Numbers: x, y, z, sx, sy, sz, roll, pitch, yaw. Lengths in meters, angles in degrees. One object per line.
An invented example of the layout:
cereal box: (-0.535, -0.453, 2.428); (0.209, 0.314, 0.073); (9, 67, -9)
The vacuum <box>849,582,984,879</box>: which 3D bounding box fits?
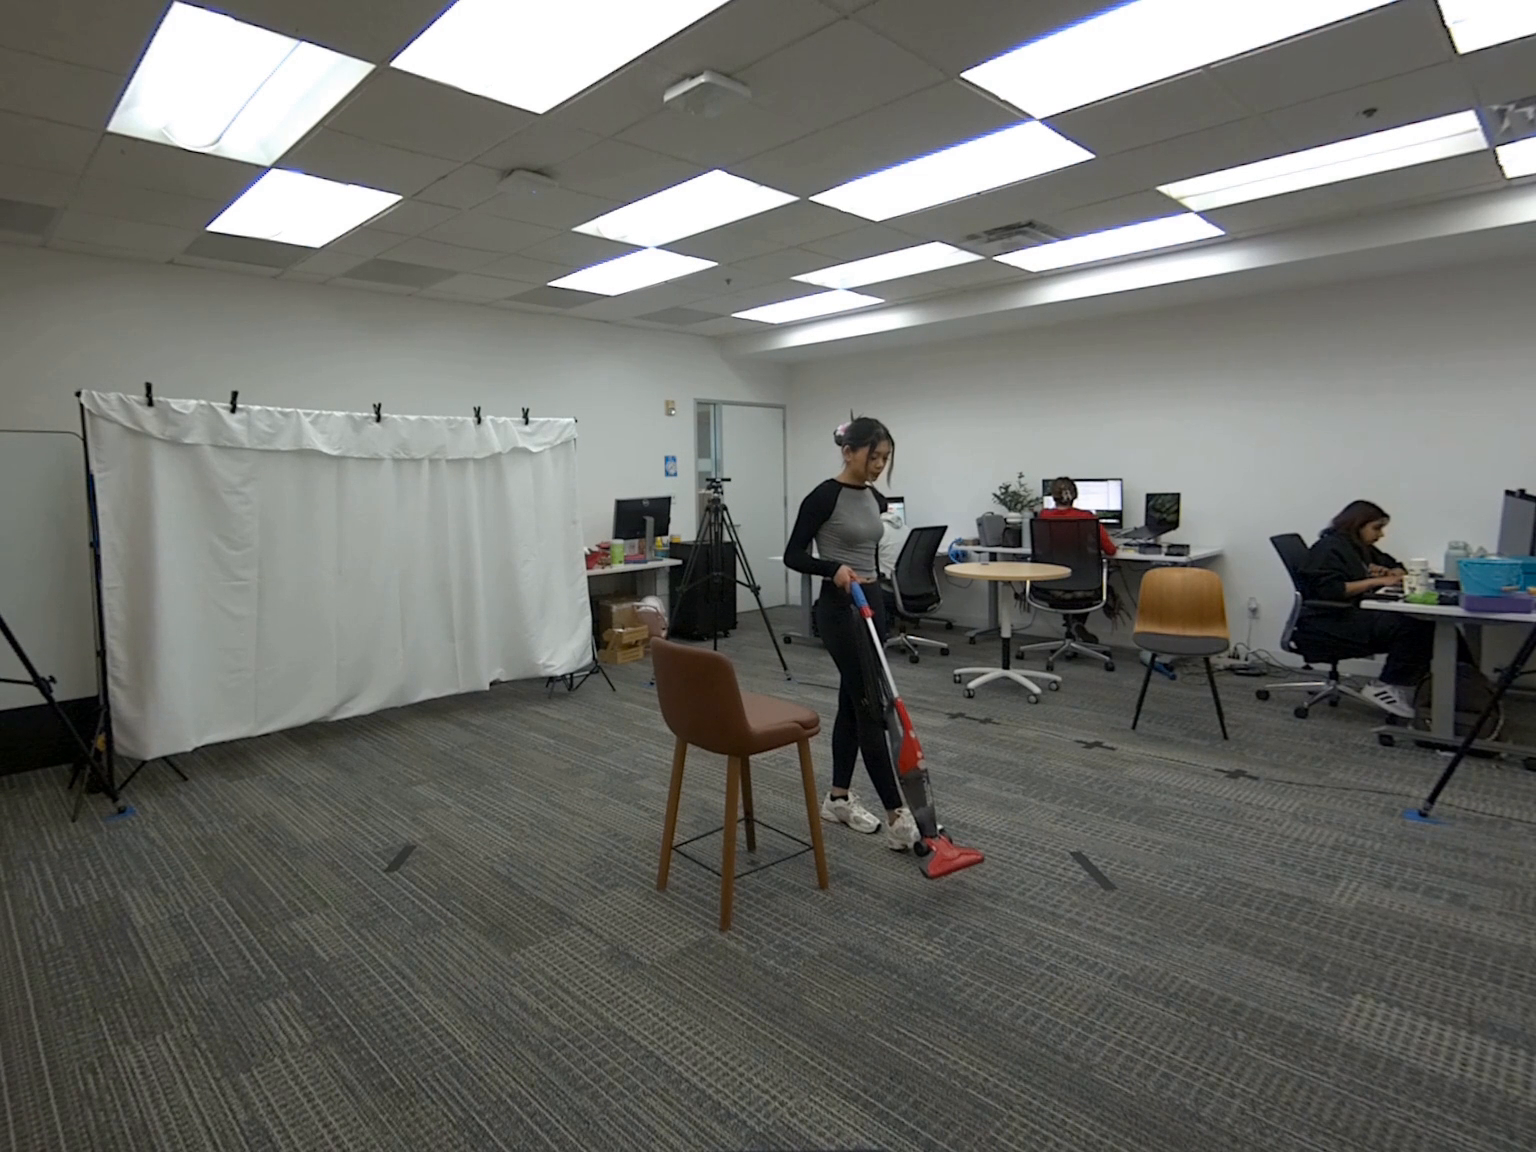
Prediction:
vacuum: (0.434, 0.470, 2.981); (0.246, 1.075, 0.144); (-4, -26, -35)
